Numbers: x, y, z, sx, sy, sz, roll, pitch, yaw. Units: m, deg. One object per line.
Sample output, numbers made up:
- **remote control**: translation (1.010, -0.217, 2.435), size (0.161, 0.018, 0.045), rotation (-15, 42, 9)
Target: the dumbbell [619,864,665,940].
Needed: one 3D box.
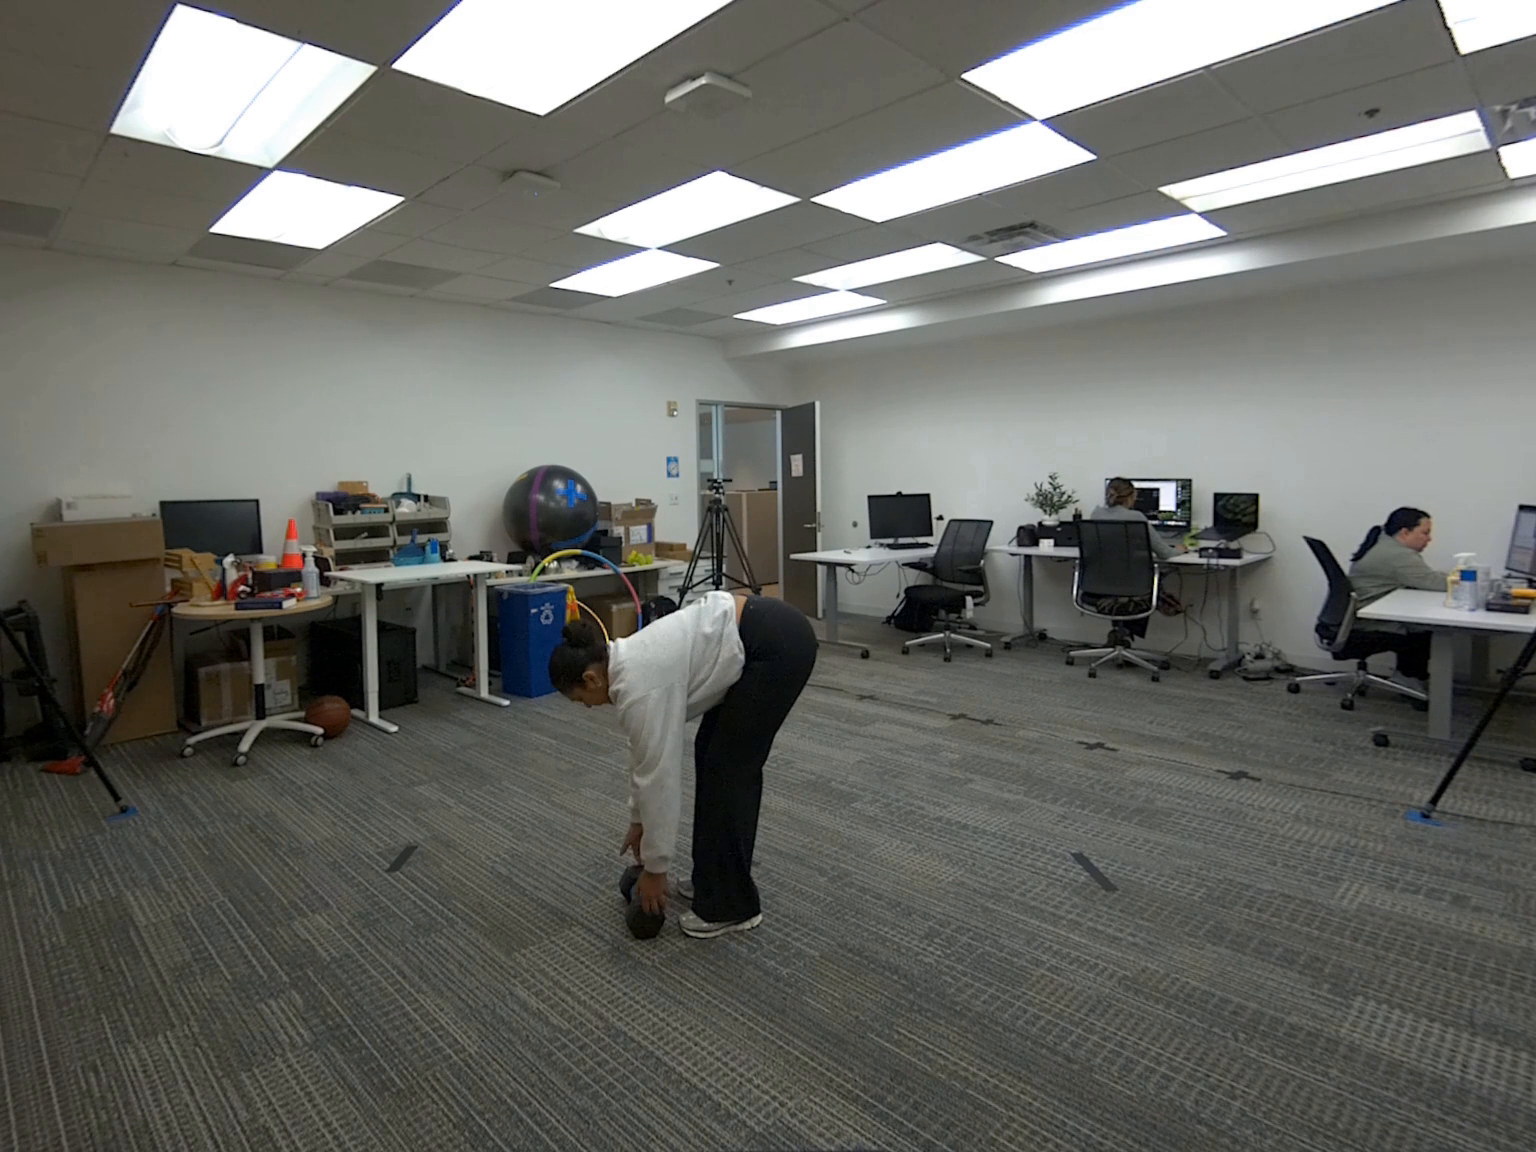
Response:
- **dumbbell**: translation (-0.396, 1.041, 2.734), size (0.107, 0.123, 0.298), rotation (28, -1, -15)
